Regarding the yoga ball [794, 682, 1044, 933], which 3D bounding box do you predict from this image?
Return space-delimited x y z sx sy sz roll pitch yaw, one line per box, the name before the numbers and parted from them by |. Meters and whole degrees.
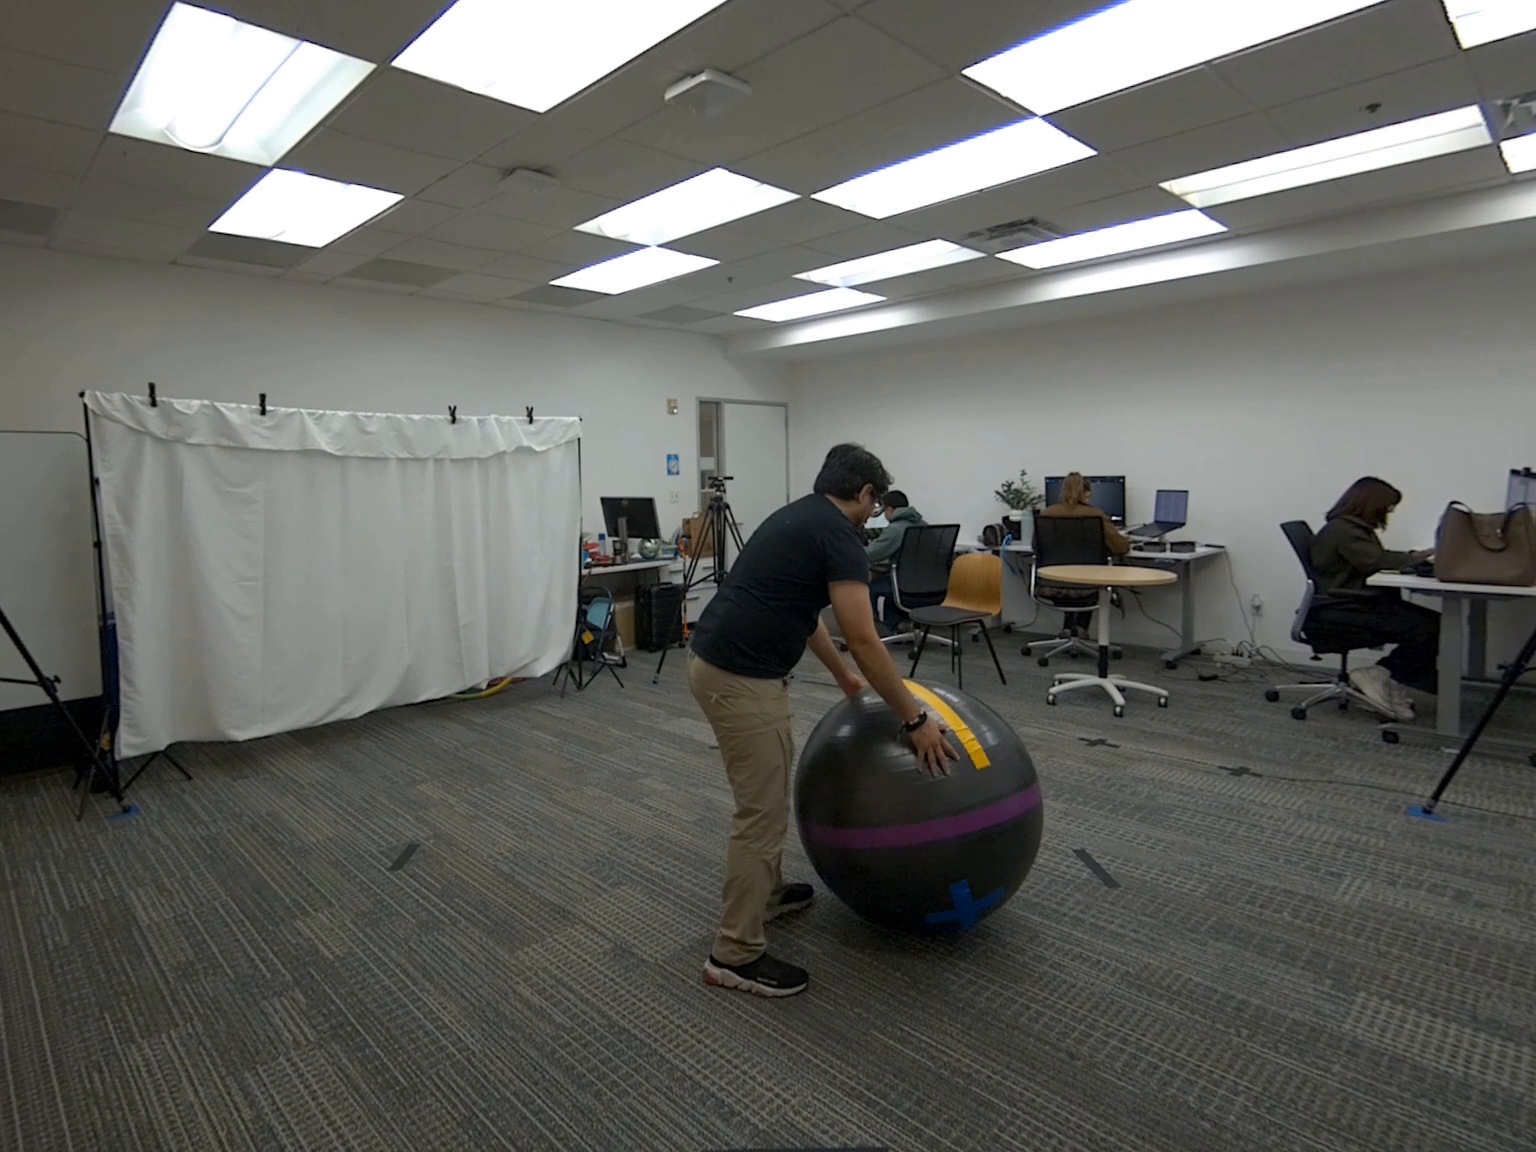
yoga ball | 0.477 0.716 2.682 0.757 0.755 0.762 -1 5 -2
